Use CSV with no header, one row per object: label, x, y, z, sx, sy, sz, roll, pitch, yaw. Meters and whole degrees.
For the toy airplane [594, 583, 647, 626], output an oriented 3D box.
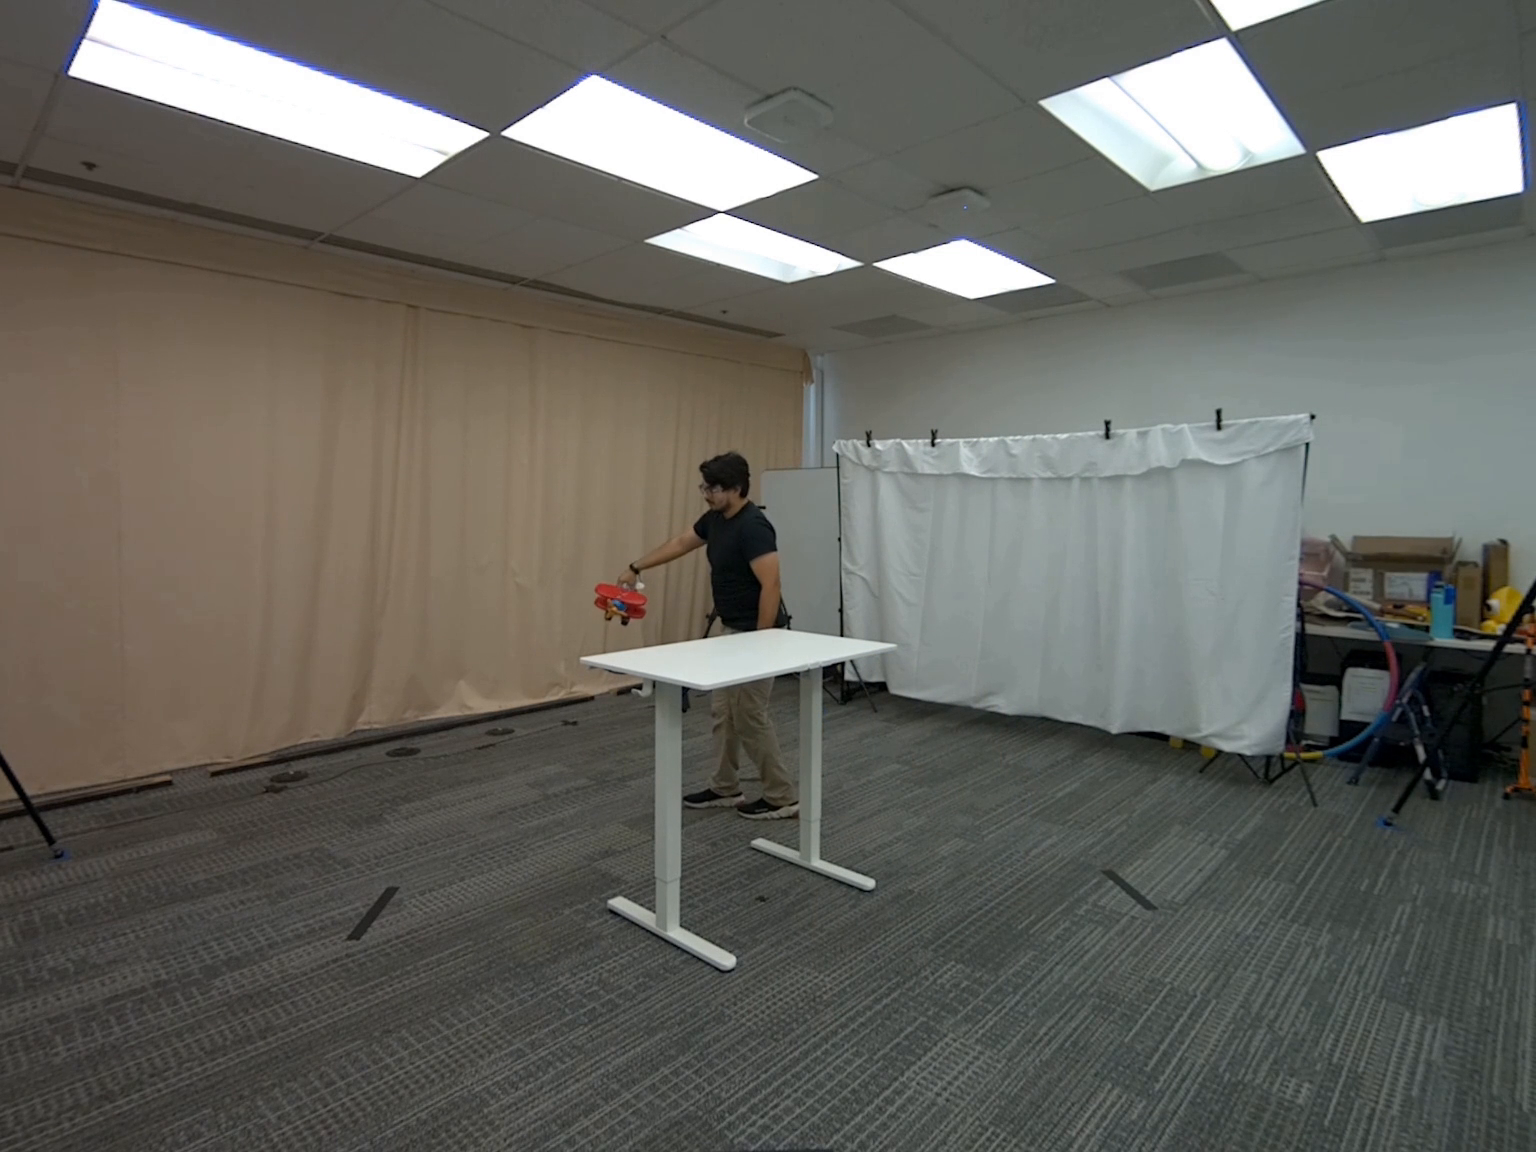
toy airplane,-0.704,0.104,4.042,0.248,0.266,0.154,-6,-40,-12
